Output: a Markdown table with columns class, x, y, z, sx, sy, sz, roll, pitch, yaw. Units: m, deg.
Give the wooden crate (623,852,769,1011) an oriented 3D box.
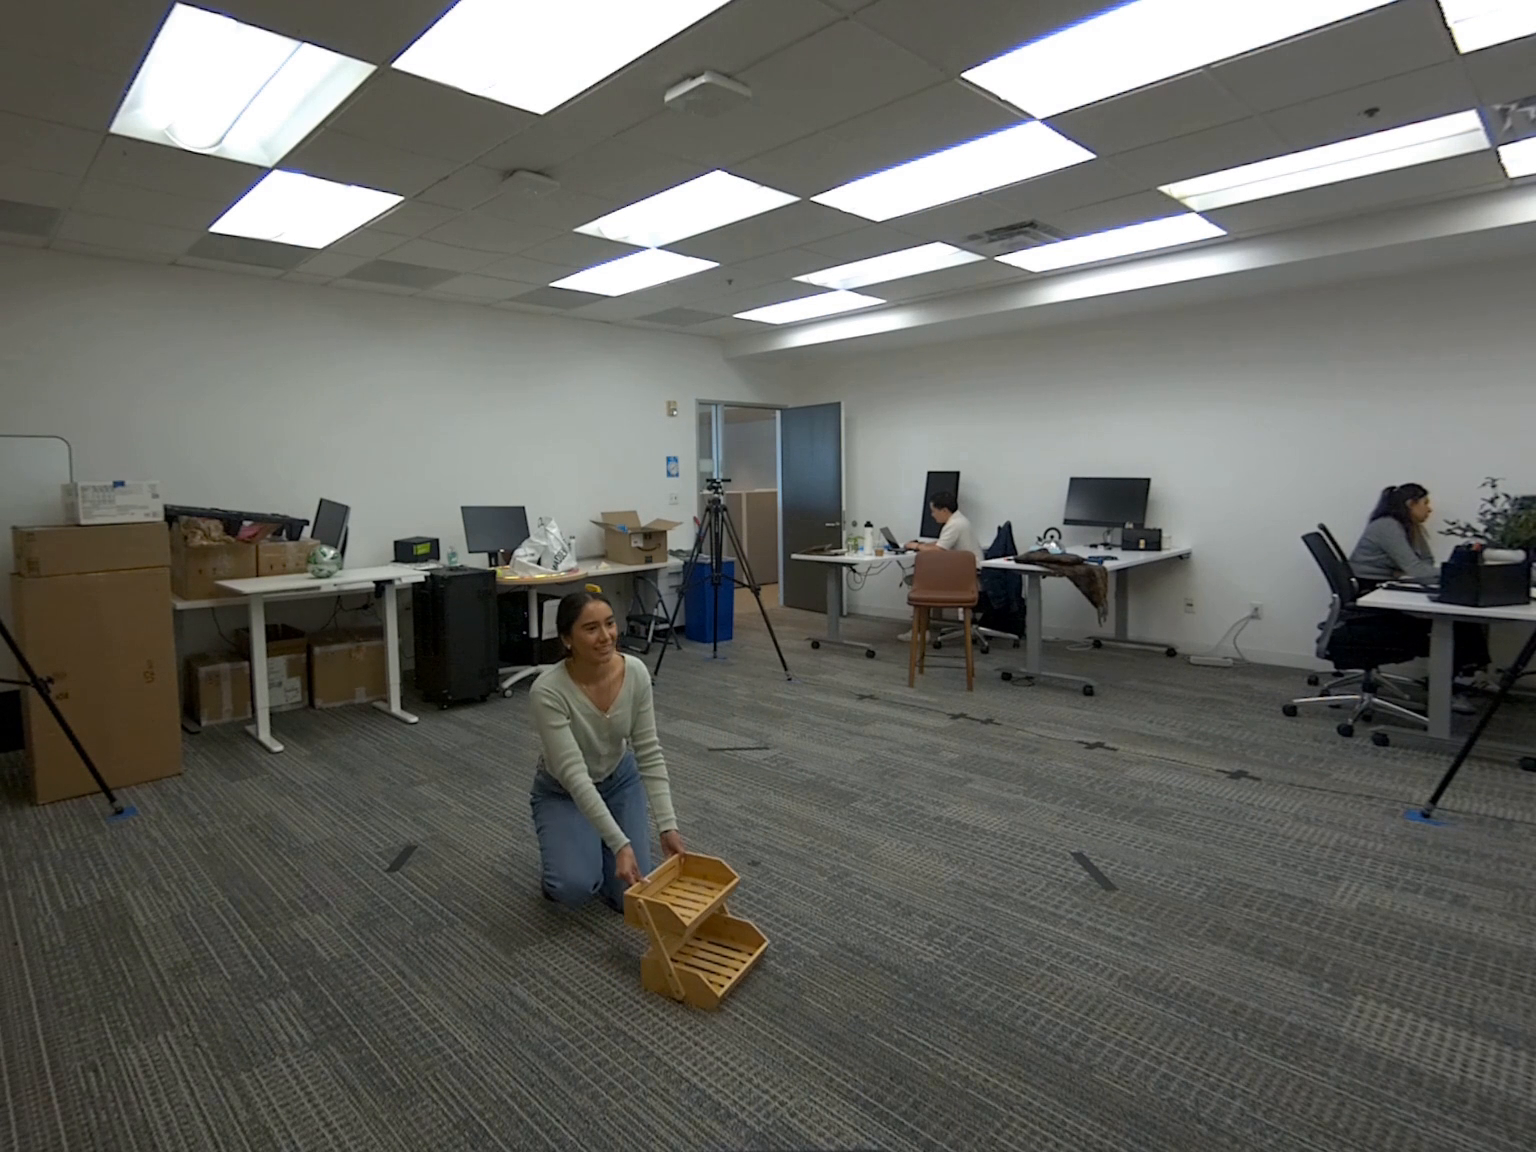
| class | x | y | z | sx | sy | sz | roll | pitch | yaw |
| --- | --- | --- | --- | --- | --- | --- | --- | --- | --- |
| wooden crate | -0.190 | 0.993 | 2.433 | 0.309 | 0.272 | 0.318 | 0 | 6 | 28 |
